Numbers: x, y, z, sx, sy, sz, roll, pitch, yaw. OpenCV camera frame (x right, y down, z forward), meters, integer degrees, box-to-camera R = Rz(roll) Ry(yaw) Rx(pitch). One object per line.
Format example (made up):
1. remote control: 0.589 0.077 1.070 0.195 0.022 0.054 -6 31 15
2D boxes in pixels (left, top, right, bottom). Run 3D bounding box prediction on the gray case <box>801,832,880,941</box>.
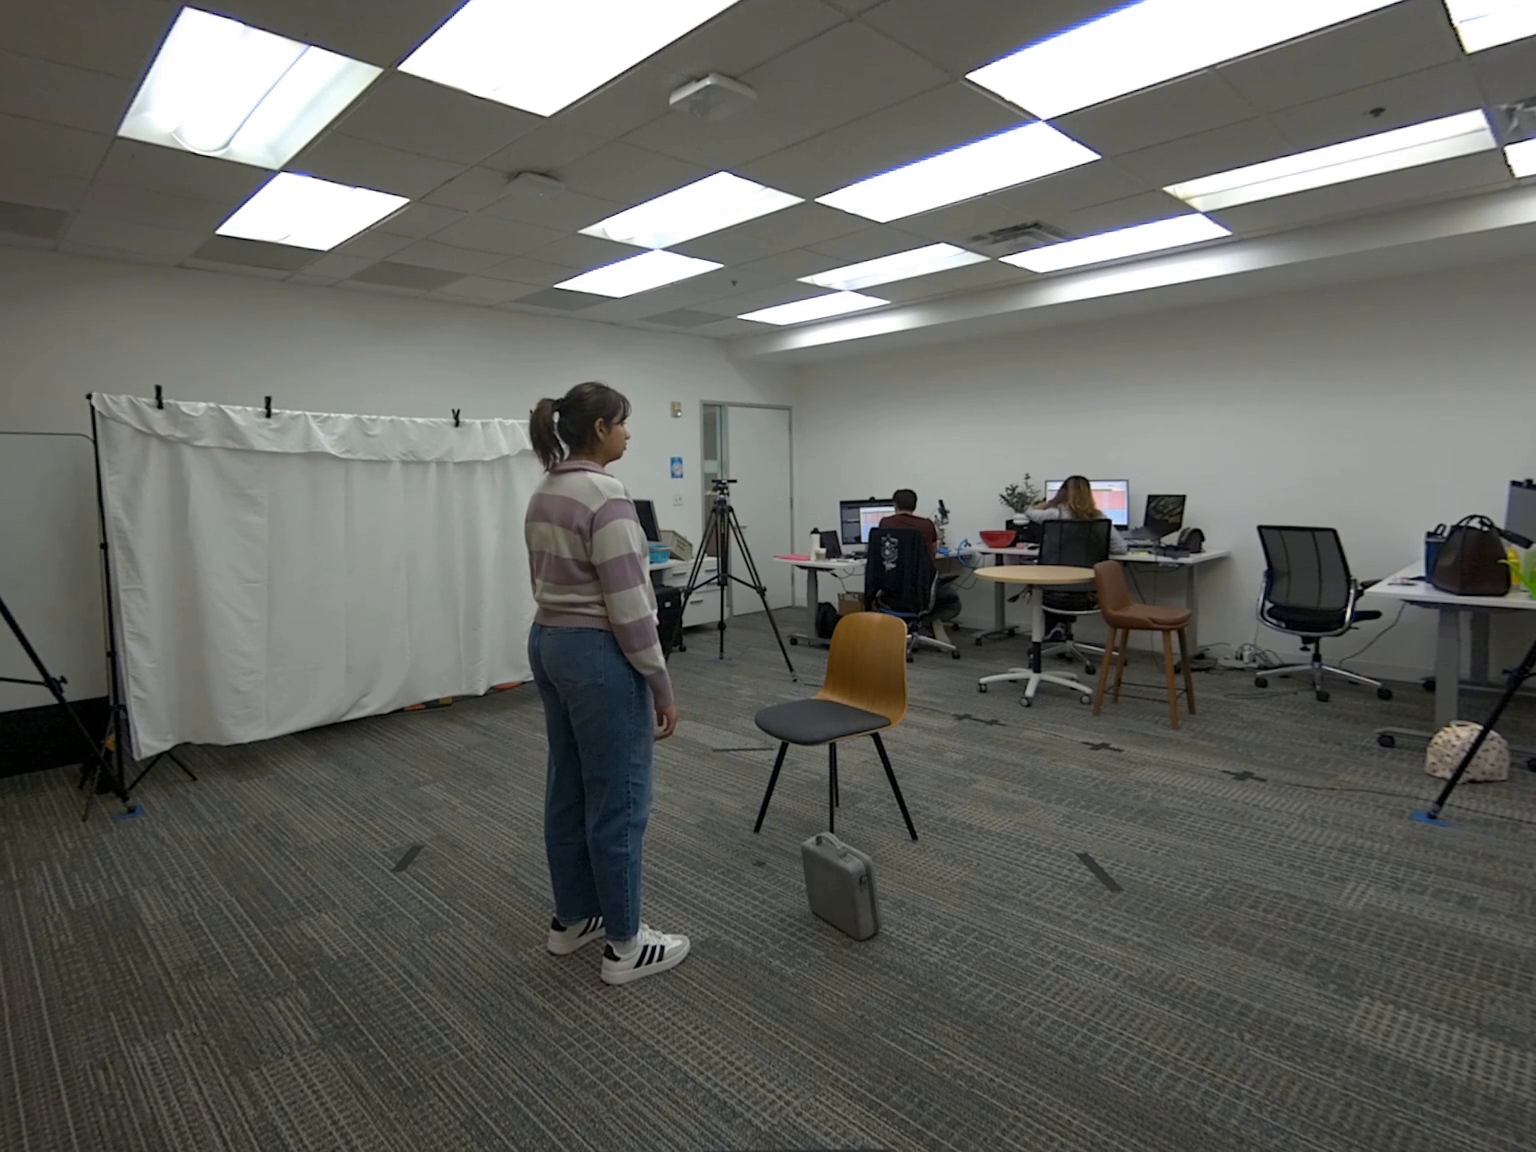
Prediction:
1. gray case: 0.231 0.956 2.665 0.102 0.259 0.264 -10 8 -30
